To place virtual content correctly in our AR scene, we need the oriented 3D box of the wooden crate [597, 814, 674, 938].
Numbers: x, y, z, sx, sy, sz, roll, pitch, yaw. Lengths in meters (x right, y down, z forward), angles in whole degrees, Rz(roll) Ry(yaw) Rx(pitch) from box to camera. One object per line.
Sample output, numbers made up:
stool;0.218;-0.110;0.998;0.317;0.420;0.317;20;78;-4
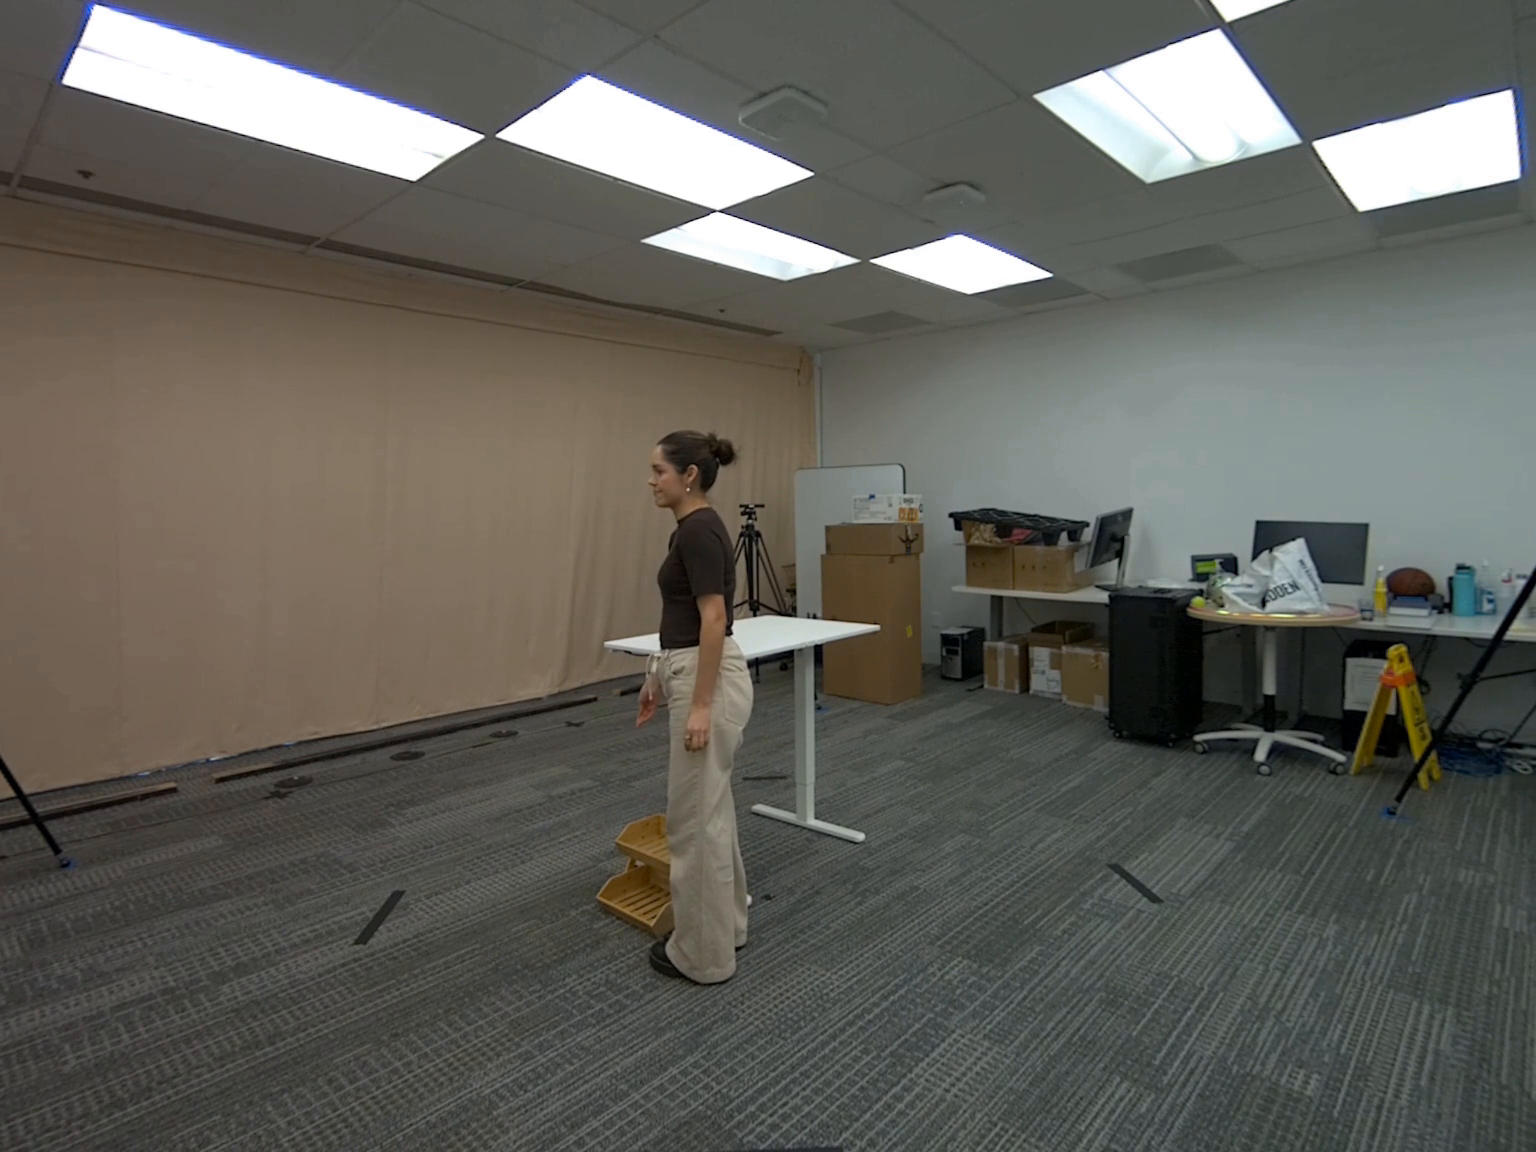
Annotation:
wooden crate;-0.383;1.021;2.906;0.335;0.273;0.293;2;5;42
